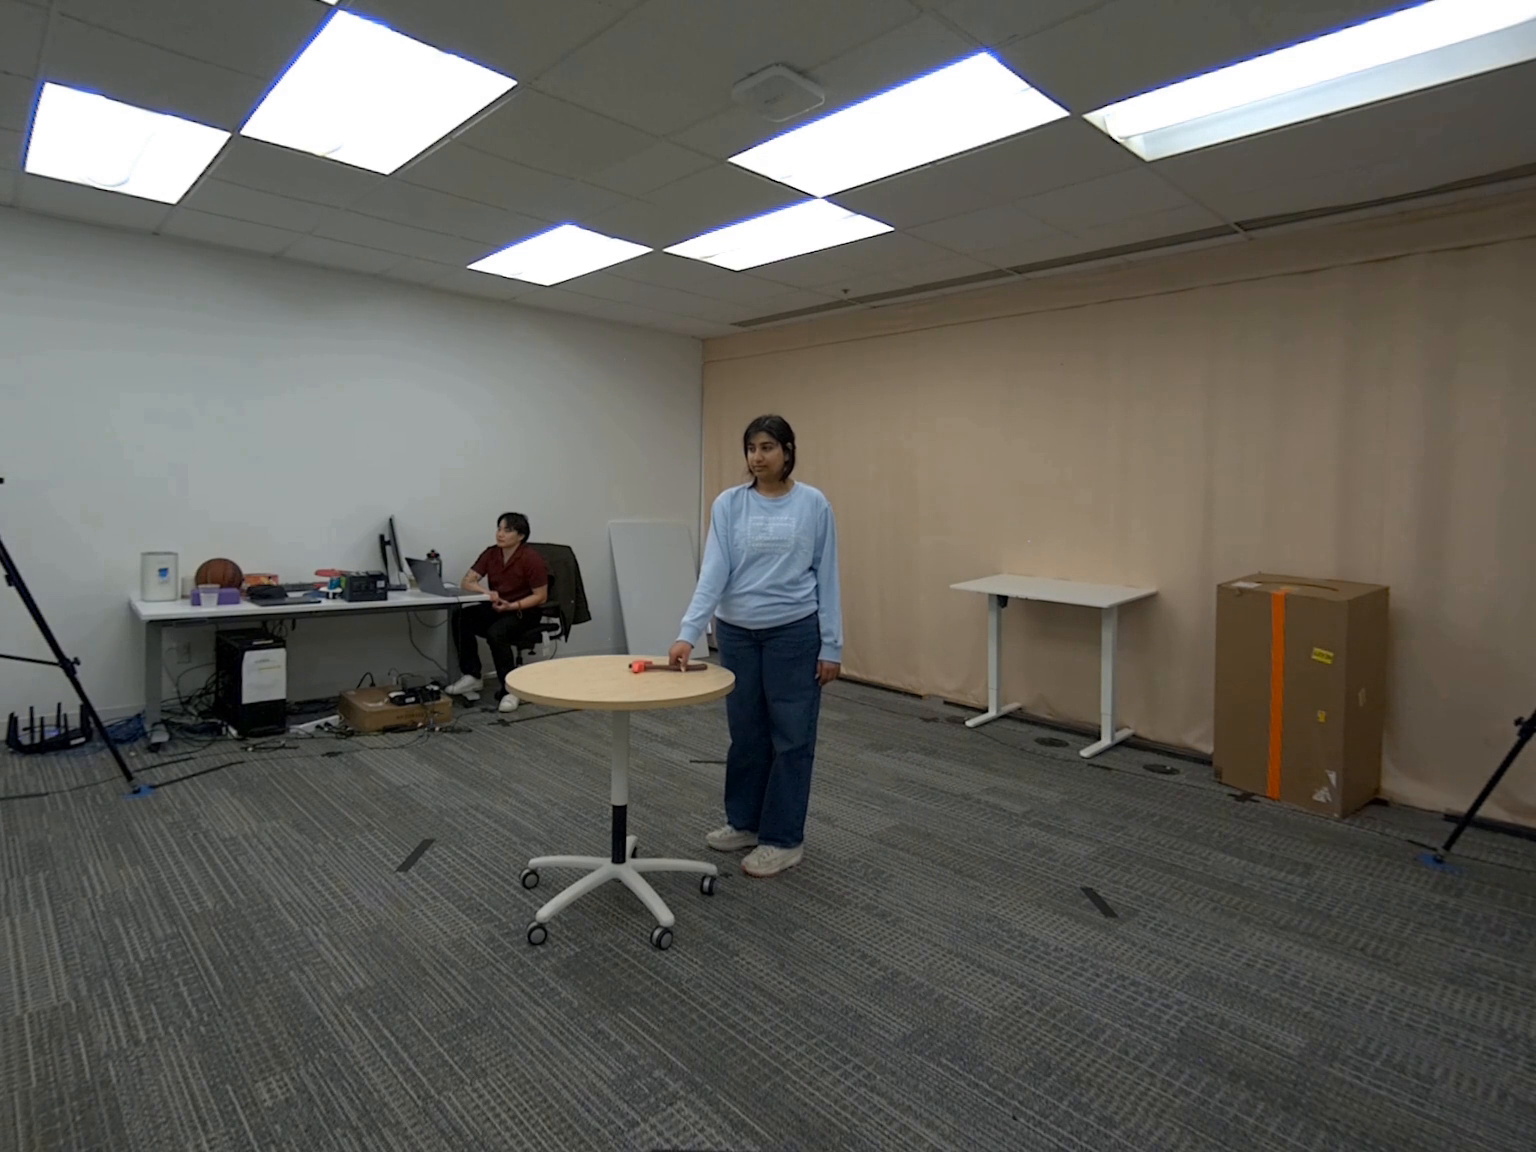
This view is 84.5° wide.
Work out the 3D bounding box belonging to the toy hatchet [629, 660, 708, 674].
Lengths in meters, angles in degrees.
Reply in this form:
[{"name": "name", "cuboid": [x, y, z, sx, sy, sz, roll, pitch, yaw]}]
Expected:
[{"name": "toy hatchet", "cuboid": [-0.372, 0.317, 2.960, 0.265, 0.029, 0.133, 1, 6, -22]}]
